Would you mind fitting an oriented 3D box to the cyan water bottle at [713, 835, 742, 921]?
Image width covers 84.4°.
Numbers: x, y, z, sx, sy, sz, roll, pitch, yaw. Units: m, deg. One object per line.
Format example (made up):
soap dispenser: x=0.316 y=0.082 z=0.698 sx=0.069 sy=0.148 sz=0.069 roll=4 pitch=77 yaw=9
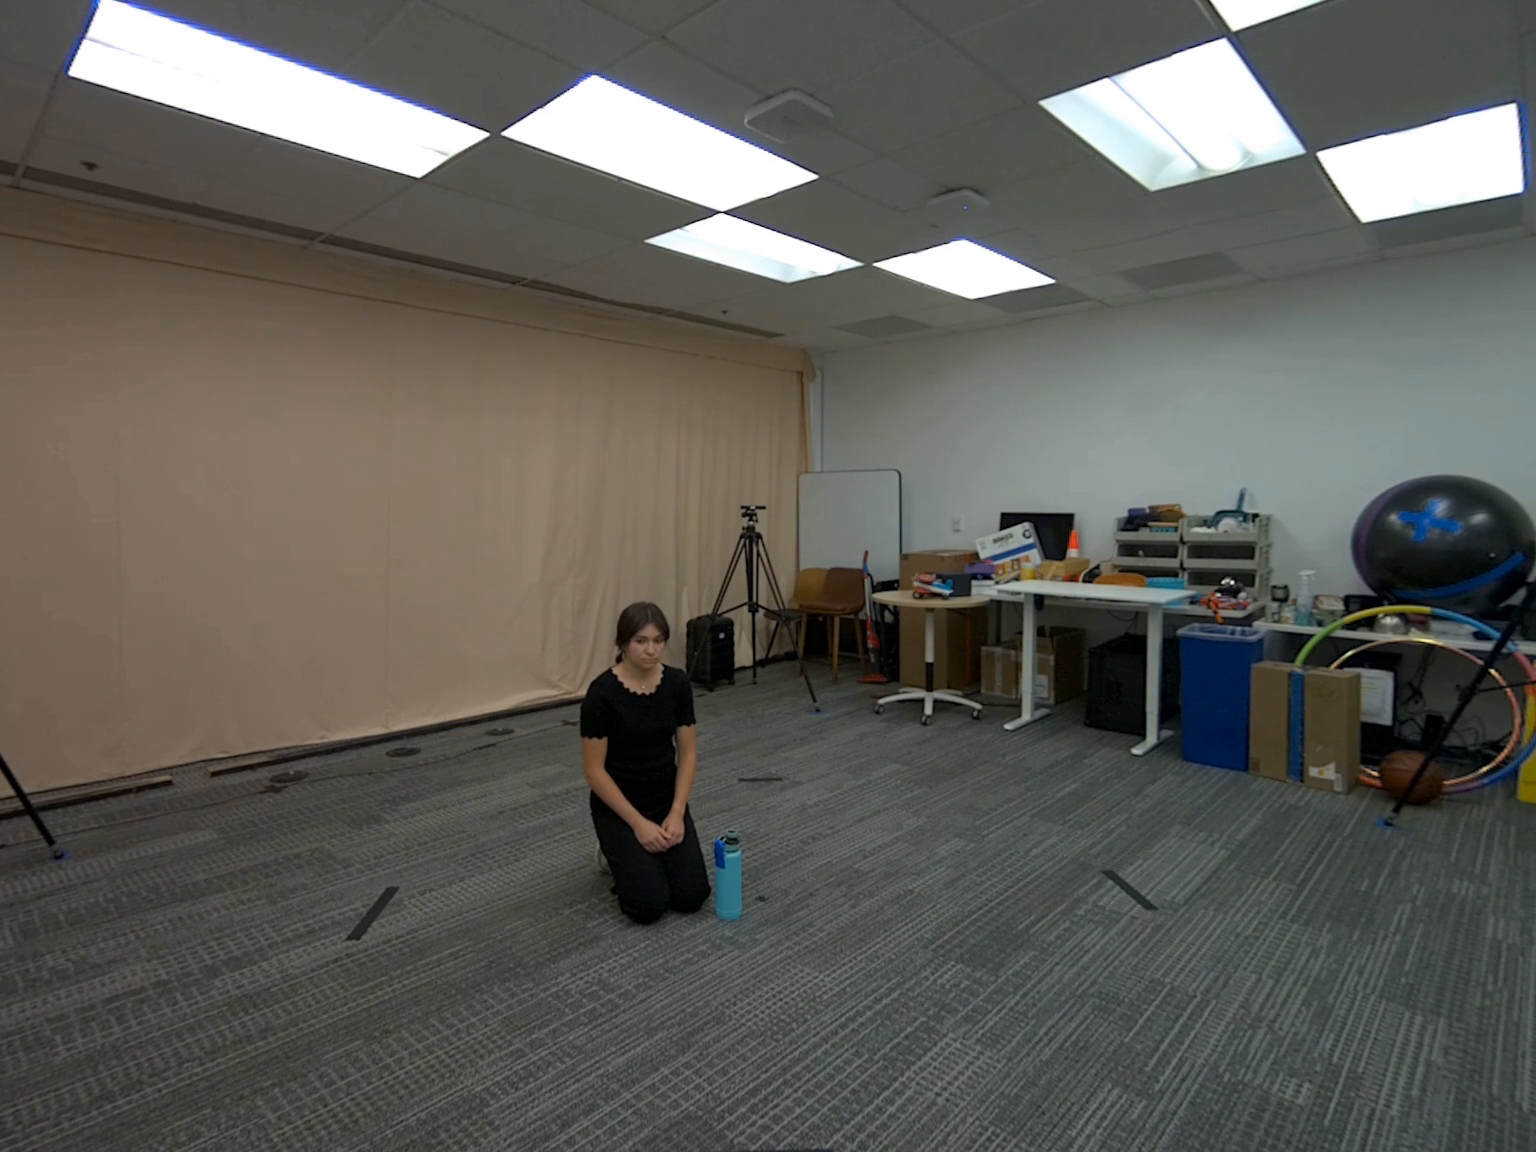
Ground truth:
cyan water bottle: x=-0.137 y=1.016 z=2.859 sx=0.092 sy=0.283 sz=0.092 roll=-1 pitch=3 yaw=-2
